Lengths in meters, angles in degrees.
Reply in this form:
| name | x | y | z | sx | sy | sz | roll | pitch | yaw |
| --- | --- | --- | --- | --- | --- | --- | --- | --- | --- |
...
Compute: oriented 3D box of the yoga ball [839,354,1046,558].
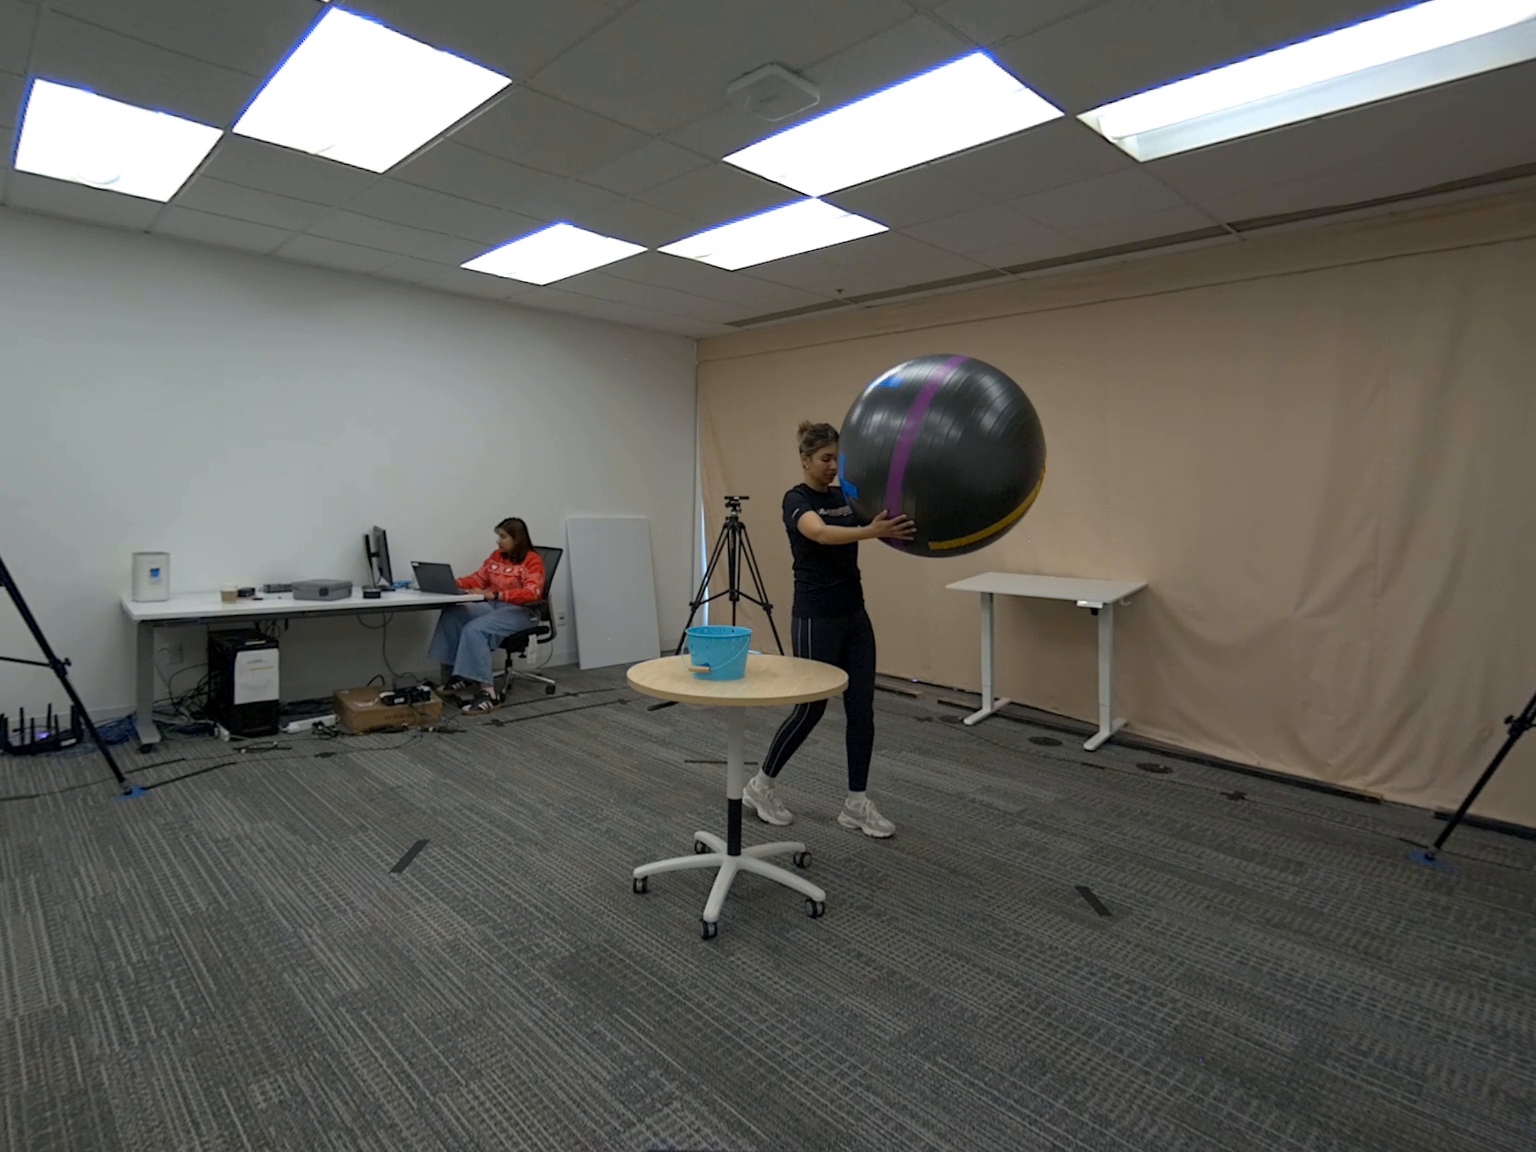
| name | x | y | z | sx | sy | sz | roll | pitch | yaw |
| --- | --- | --- | --- | --- | --- | --- | --- | --- | --- |
| yoga ball | 0.639 | -0.436 | 3.148 | 0.757 | 0.756 | 0.761 | 1 | 4 | -1 |
